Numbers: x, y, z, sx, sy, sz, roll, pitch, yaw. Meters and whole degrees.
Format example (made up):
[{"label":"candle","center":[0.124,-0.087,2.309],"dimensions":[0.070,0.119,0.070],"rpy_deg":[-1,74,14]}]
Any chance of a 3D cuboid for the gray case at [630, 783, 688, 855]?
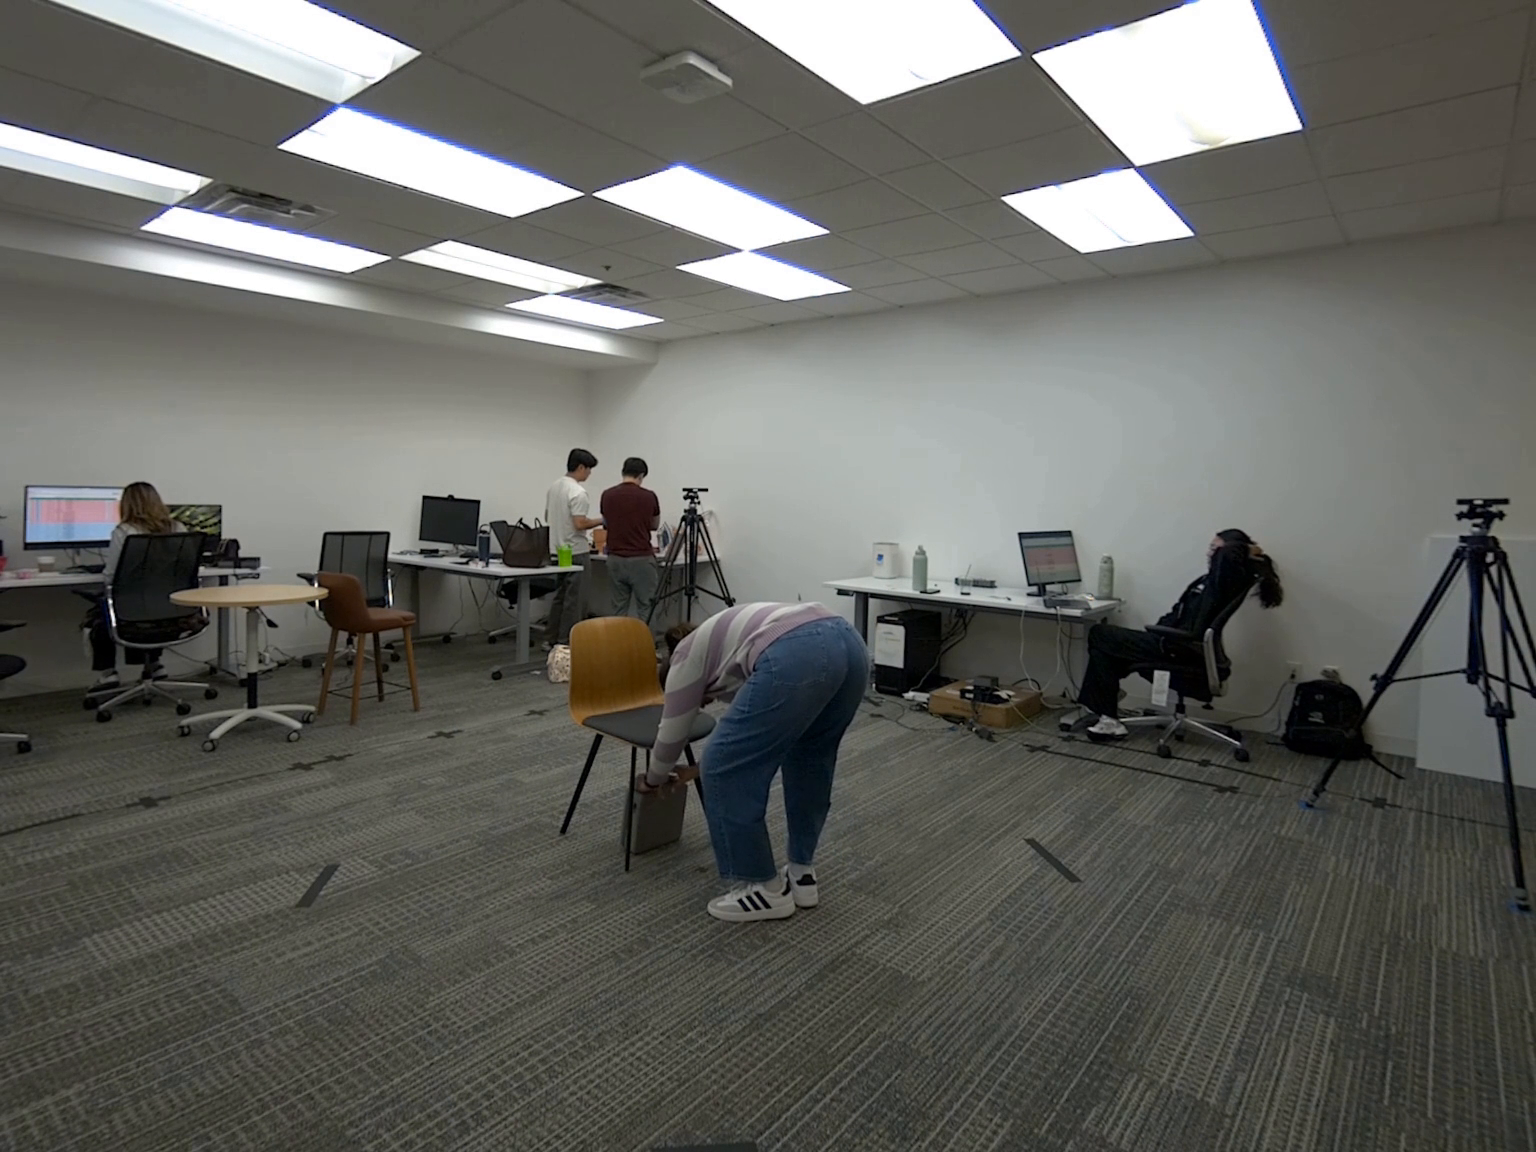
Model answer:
[{"label":"gray case","center":[-0.447,0.917,3.306],"dimensions":[0.249,0.258,0.108],"rpy_deg":[-5,17,-45]}]
